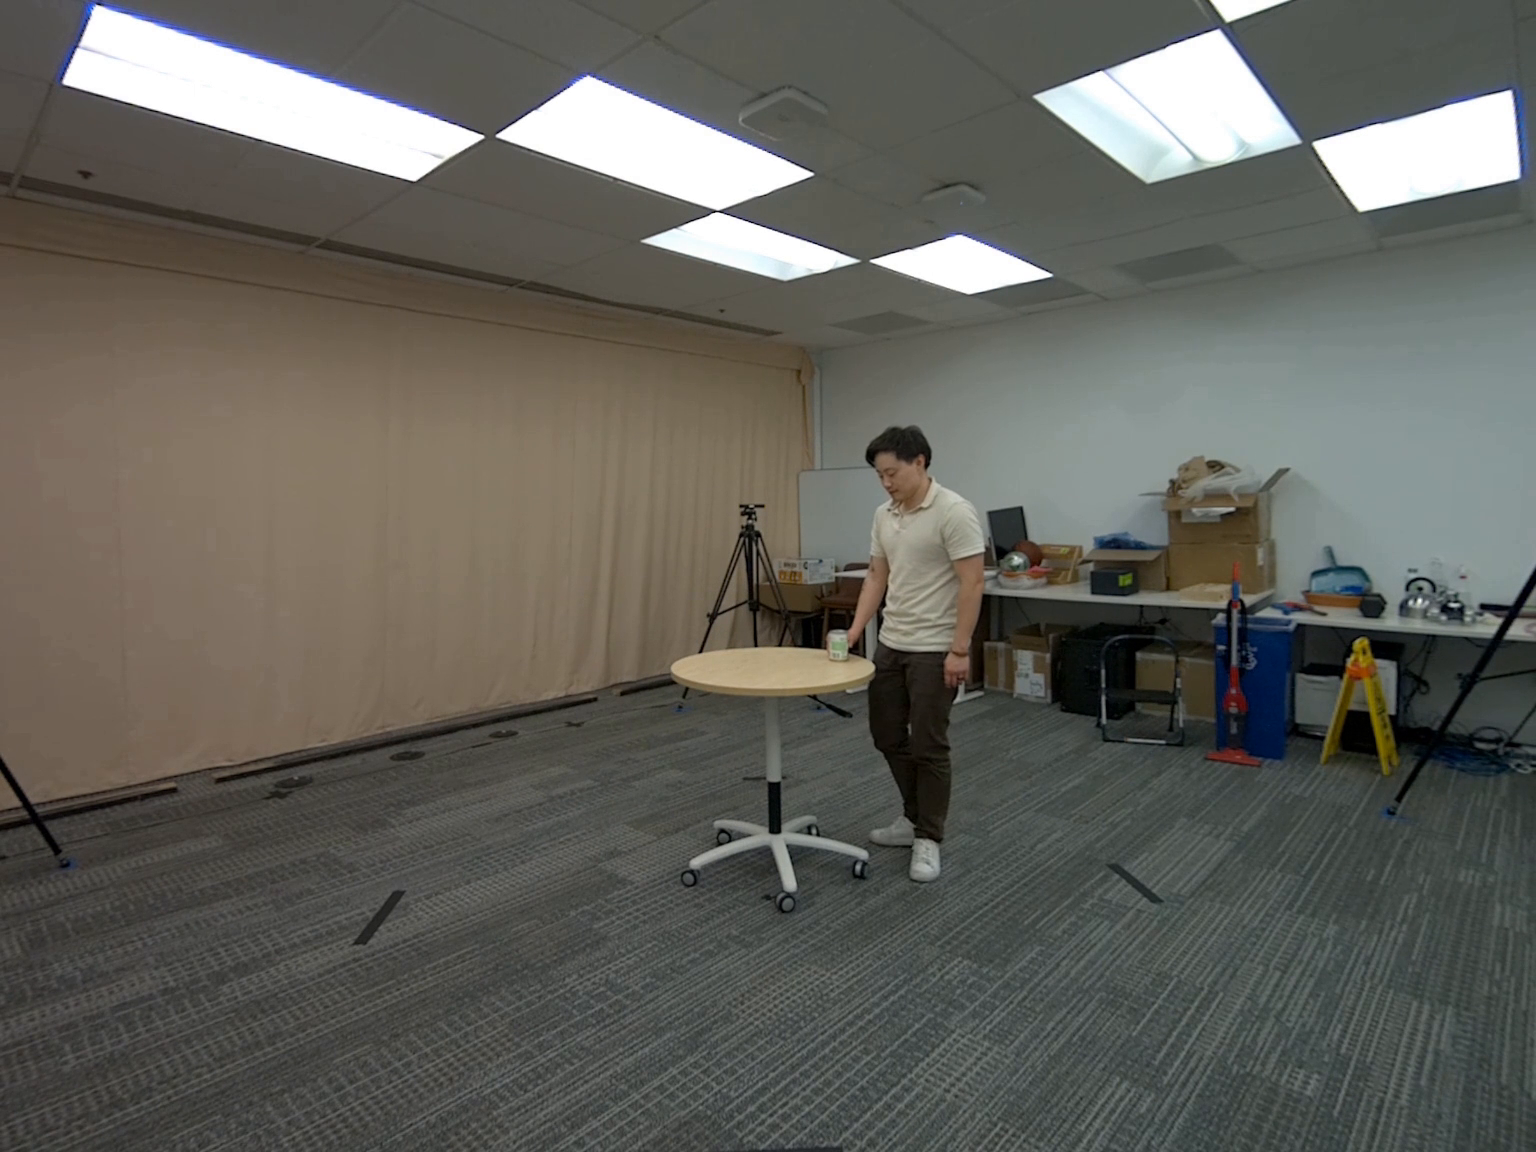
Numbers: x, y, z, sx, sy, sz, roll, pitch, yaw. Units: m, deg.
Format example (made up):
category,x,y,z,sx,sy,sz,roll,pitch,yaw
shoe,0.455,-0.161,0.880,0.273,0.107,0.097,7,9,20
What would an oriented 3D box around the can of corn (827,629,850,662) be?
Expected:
category,x,y,z,sx,sy,sz,roll,pitch,yaw
can of corn,0.279,0.273,3.264,0.074,0.111,0.074,2,2,-2
